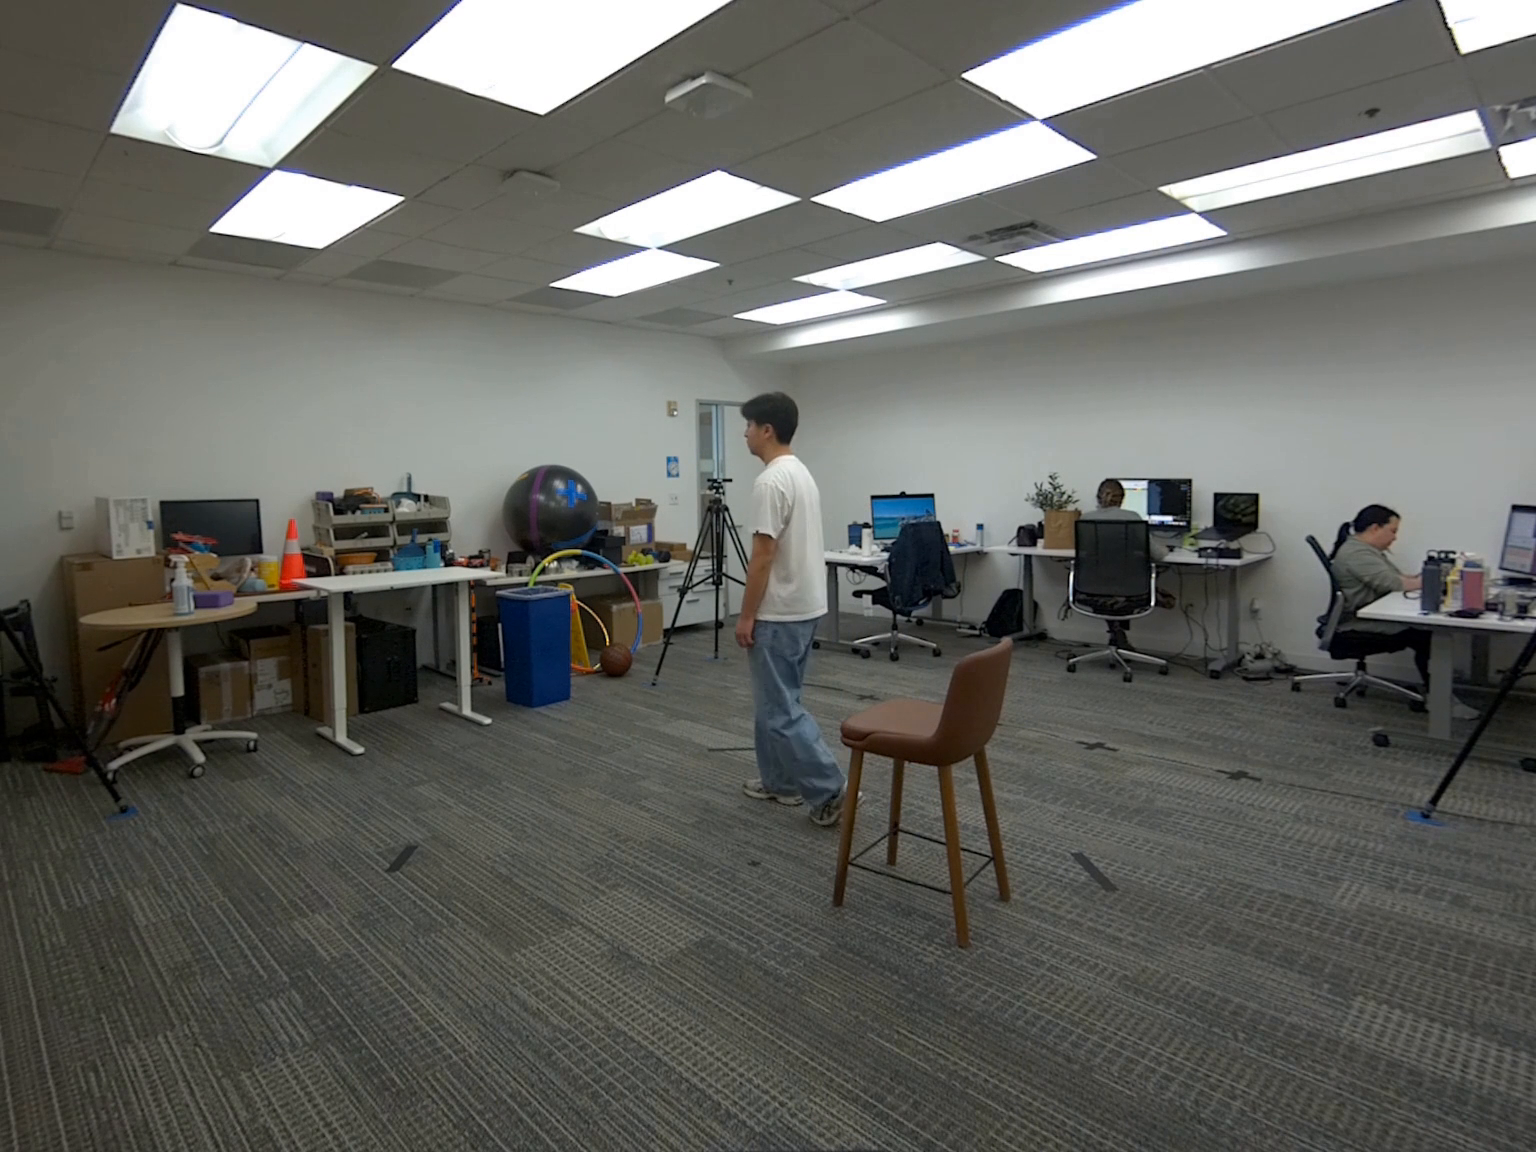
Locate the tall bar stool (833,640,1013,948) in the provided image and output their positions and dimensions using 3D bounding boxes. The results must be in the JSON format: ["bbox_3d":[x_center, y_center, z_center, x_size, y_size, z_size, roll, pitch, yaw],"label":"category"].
[{"bbox_3d":[0.515,0.637,2.778,0.482,0.885,0.445,5,7,37],"label":"tall bar stool"}]
